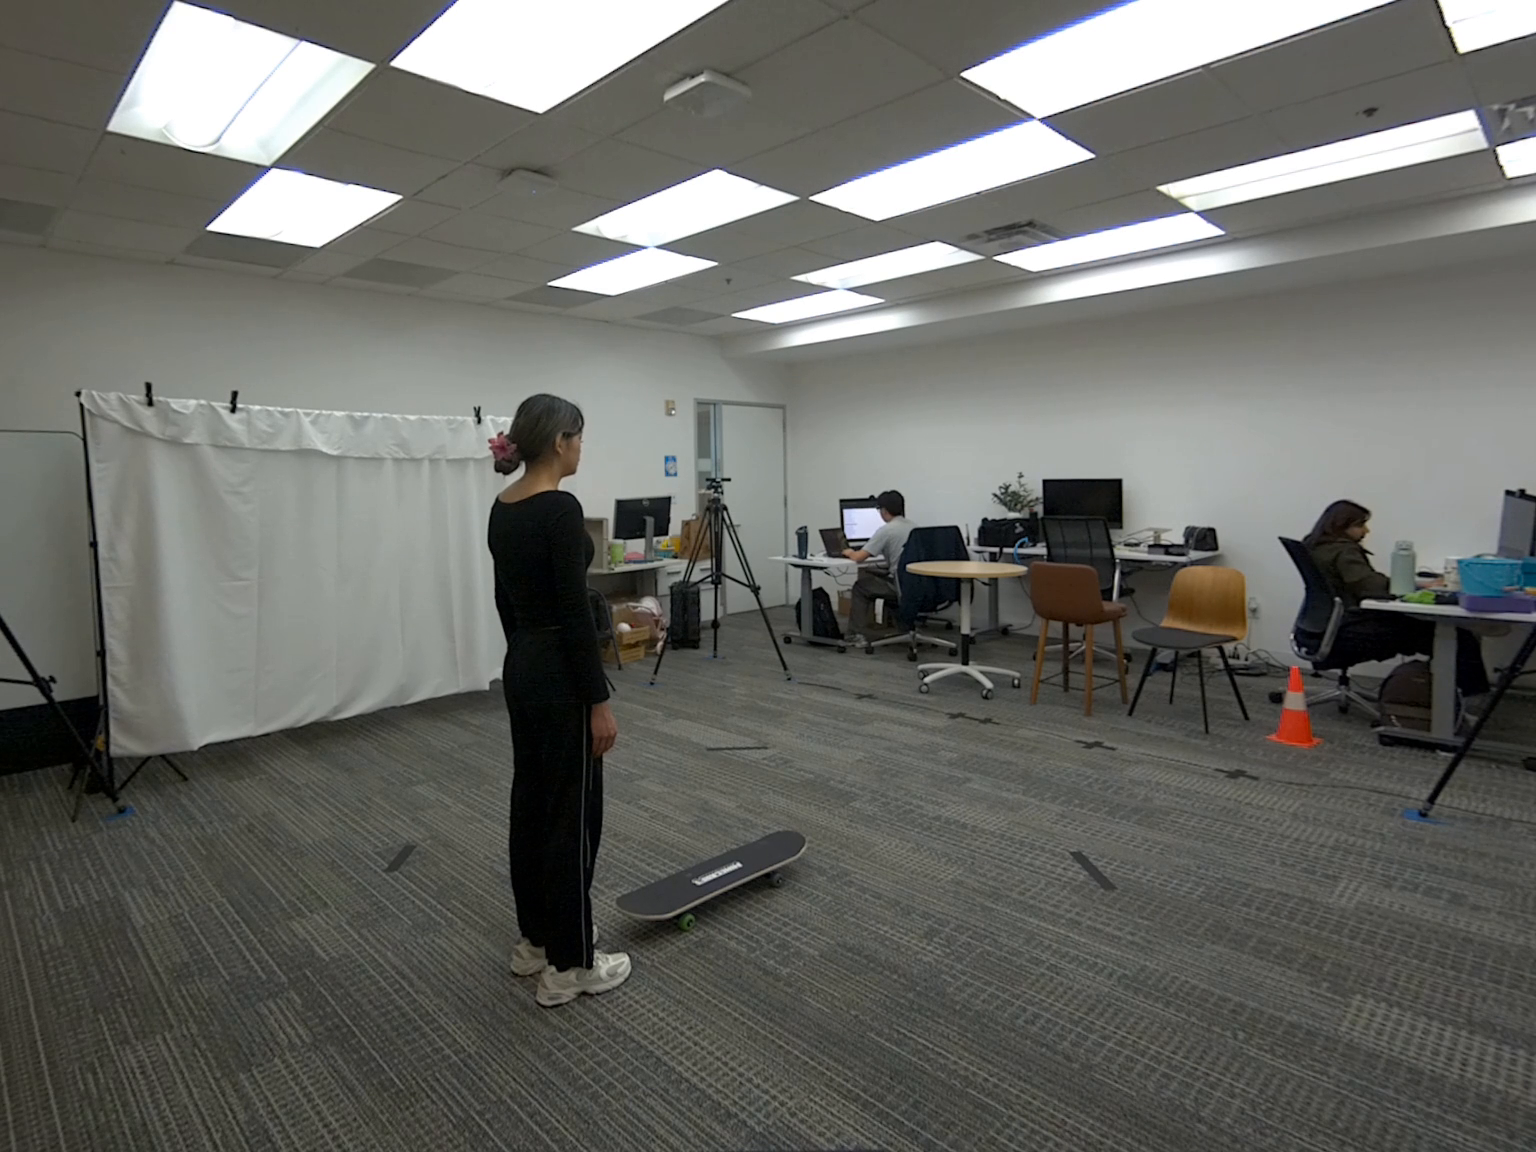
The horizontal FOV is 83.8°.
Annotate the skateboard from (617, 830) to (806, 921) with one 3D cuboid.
[{"bbox_3d":[-0.166,1.020,2.840,0.765,0.110,0.199,-7,8,-44],"label":"skateboard"}]
